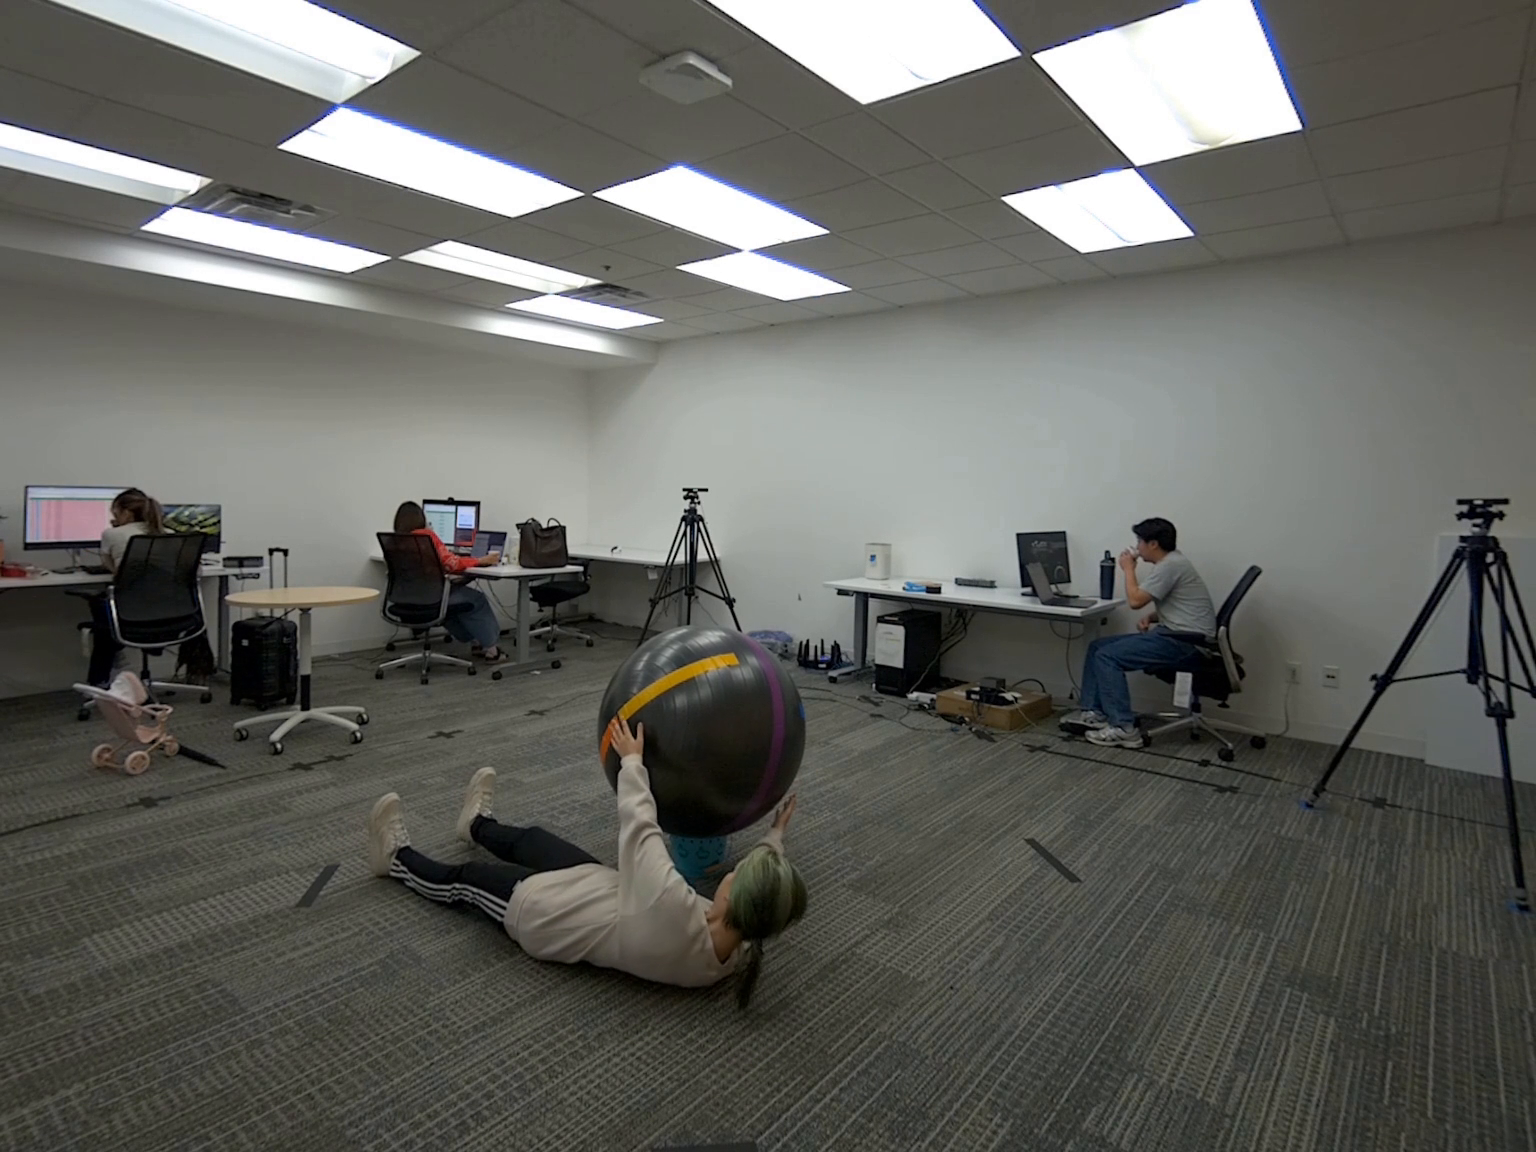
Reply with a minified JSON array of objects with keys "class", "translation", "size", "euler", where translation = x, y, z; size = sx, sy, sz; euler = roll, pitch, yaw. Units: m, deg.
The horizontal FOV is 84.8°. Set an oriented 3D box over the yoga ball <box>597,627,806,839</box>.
[{"class":"yoga ball","translation":[-0.254,0.555,3.106],"size":[0.757,0.755,0.762],"euler":[1,4,-2]}]
